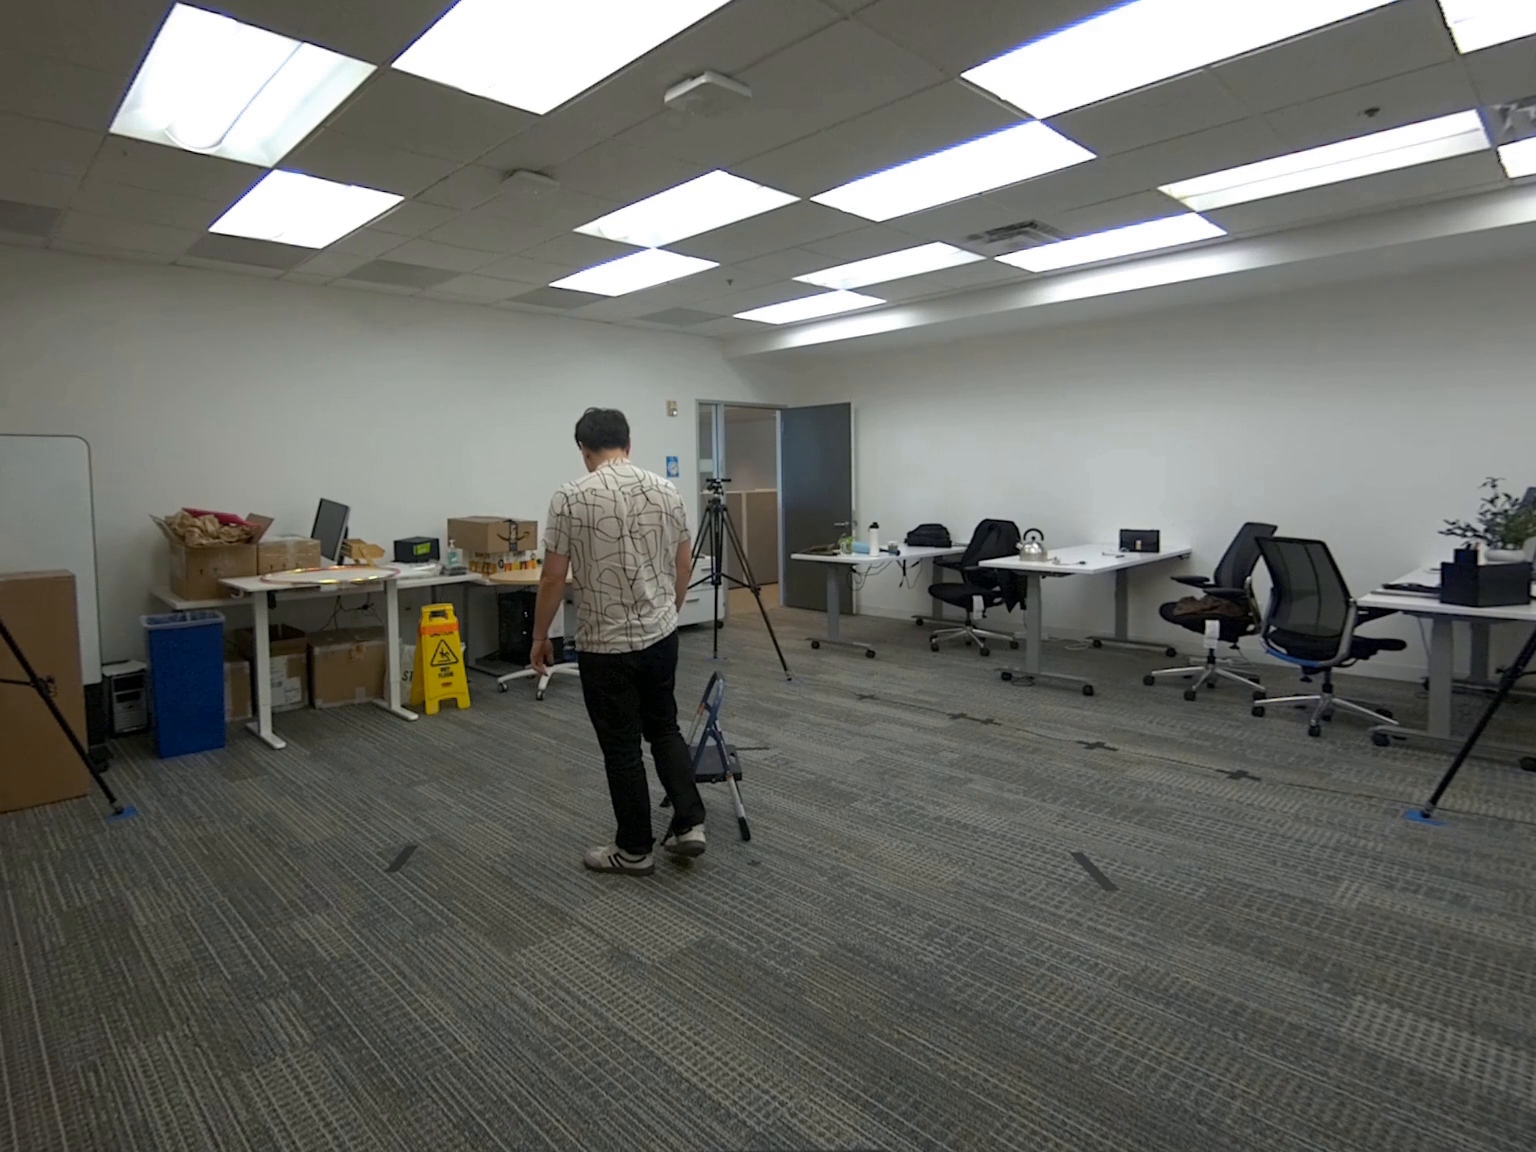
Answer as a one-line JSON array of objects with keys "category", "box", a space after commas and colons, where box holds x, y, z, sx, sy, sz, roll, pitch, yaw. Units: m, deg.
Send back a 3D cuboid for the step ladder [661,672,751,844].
[{"category": "step ladder", "box": [-0.260, 0.705, 3.471, 0.347, 0.604, 0.435, -2, 4, -7]}]
